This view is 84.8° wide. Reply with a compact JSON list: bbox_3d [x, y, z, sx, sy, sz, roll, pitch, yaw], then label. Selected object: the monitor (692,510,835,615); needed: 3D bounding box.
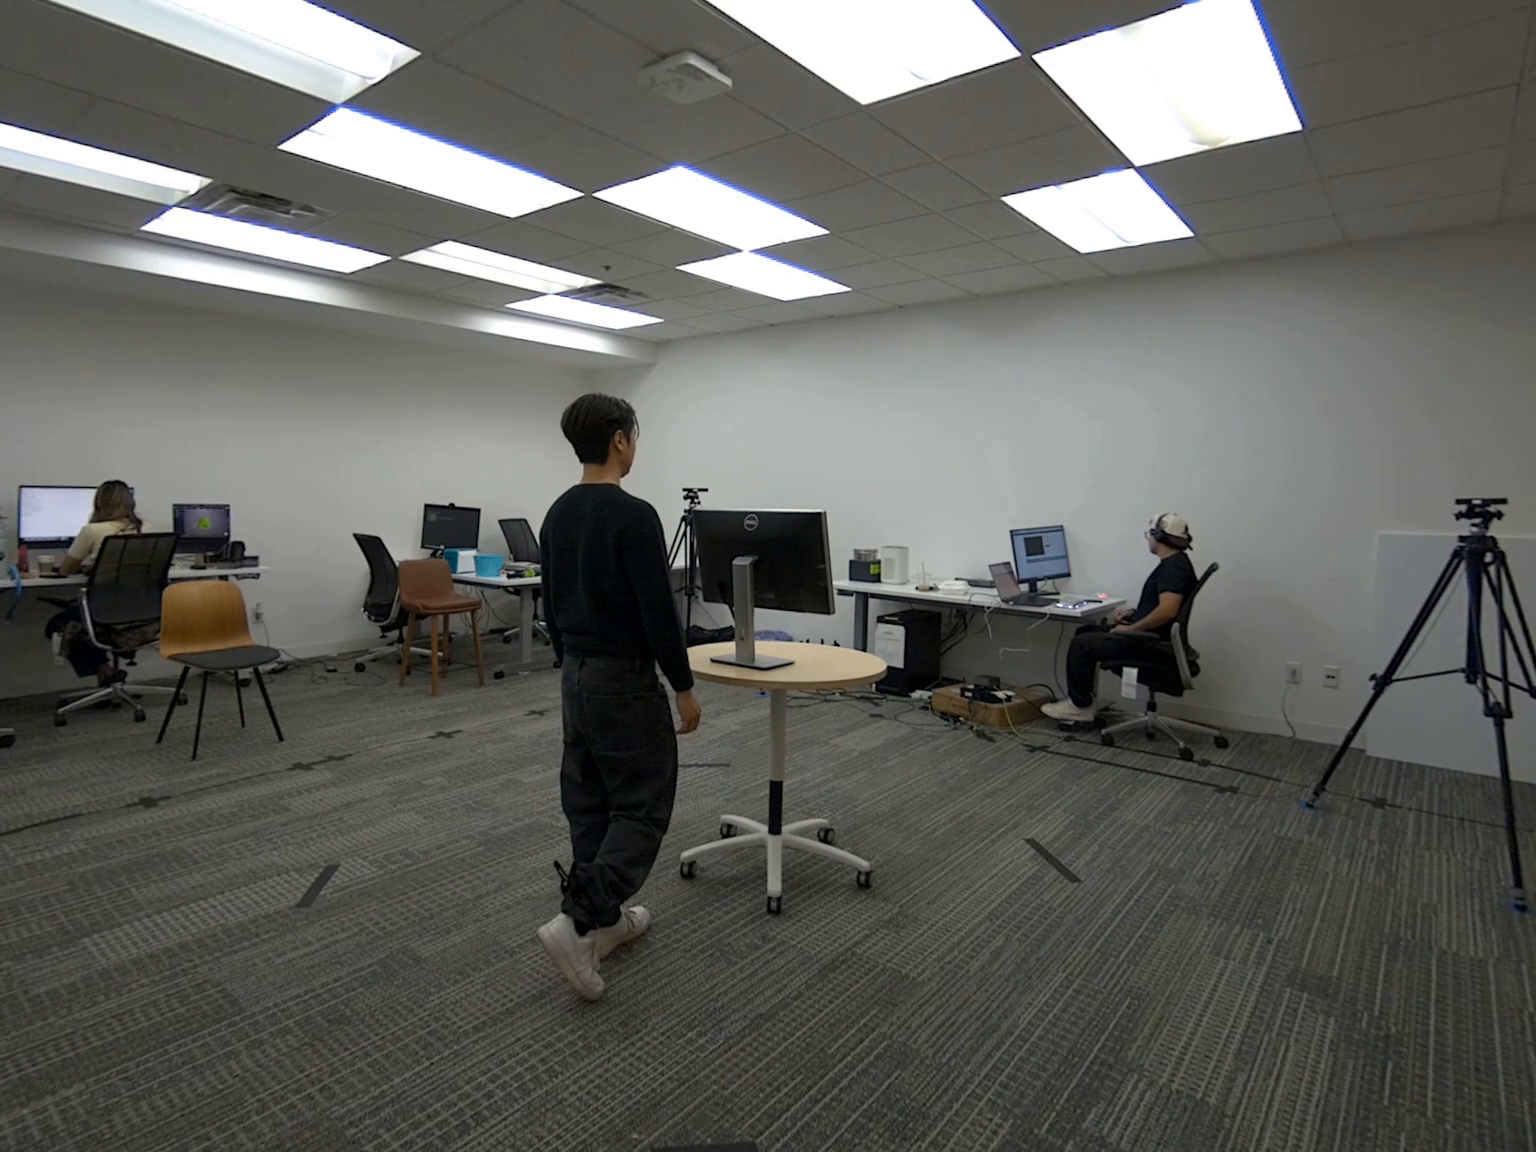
[{"bbox_3d":[-0.061,0.037,2.995,0.556,0.522,0.181,4,2,34],"label":"monitor"}]
